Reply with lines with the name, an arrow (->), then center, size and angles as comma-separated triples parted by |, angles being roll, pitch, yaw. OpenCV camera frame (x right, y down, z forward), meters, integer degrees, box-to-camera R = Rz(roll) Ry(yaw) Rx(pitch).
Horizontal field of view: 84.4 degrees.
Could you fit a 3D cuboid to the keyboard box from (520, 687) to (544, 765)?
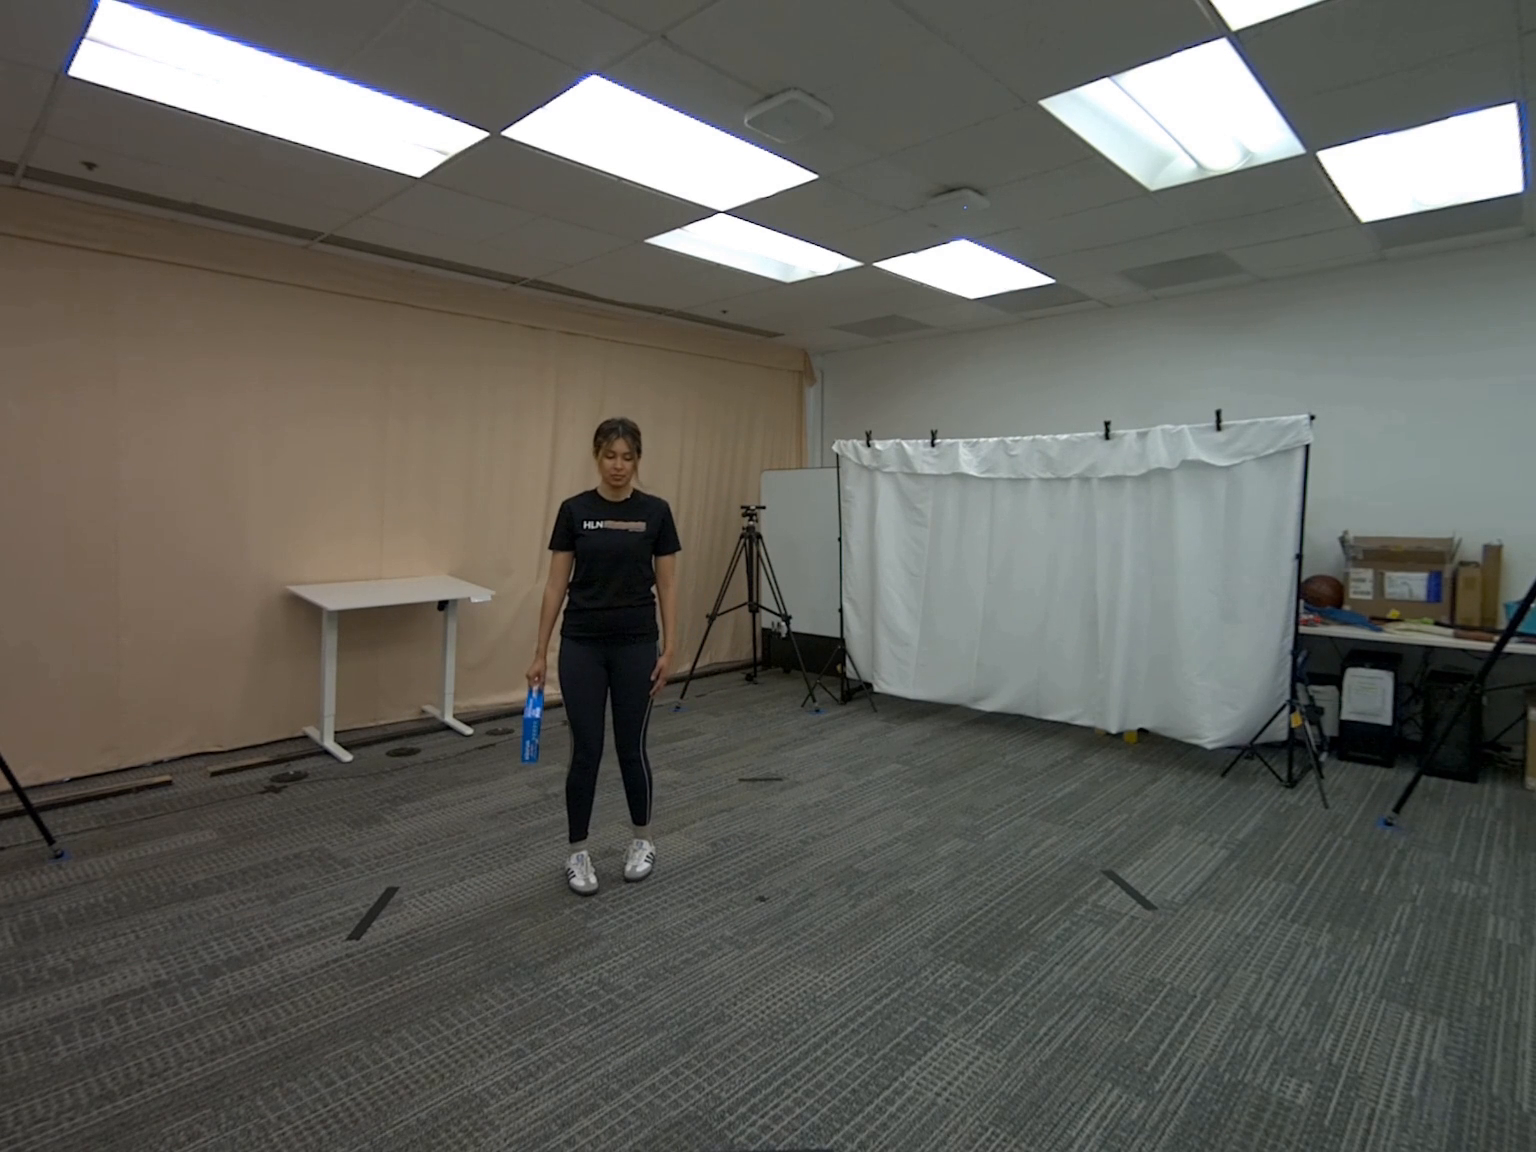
keyboard box -> -0.865, 0.514, 3.143 | 0.058, 0.175, 0.445 | 4, 15, -13
